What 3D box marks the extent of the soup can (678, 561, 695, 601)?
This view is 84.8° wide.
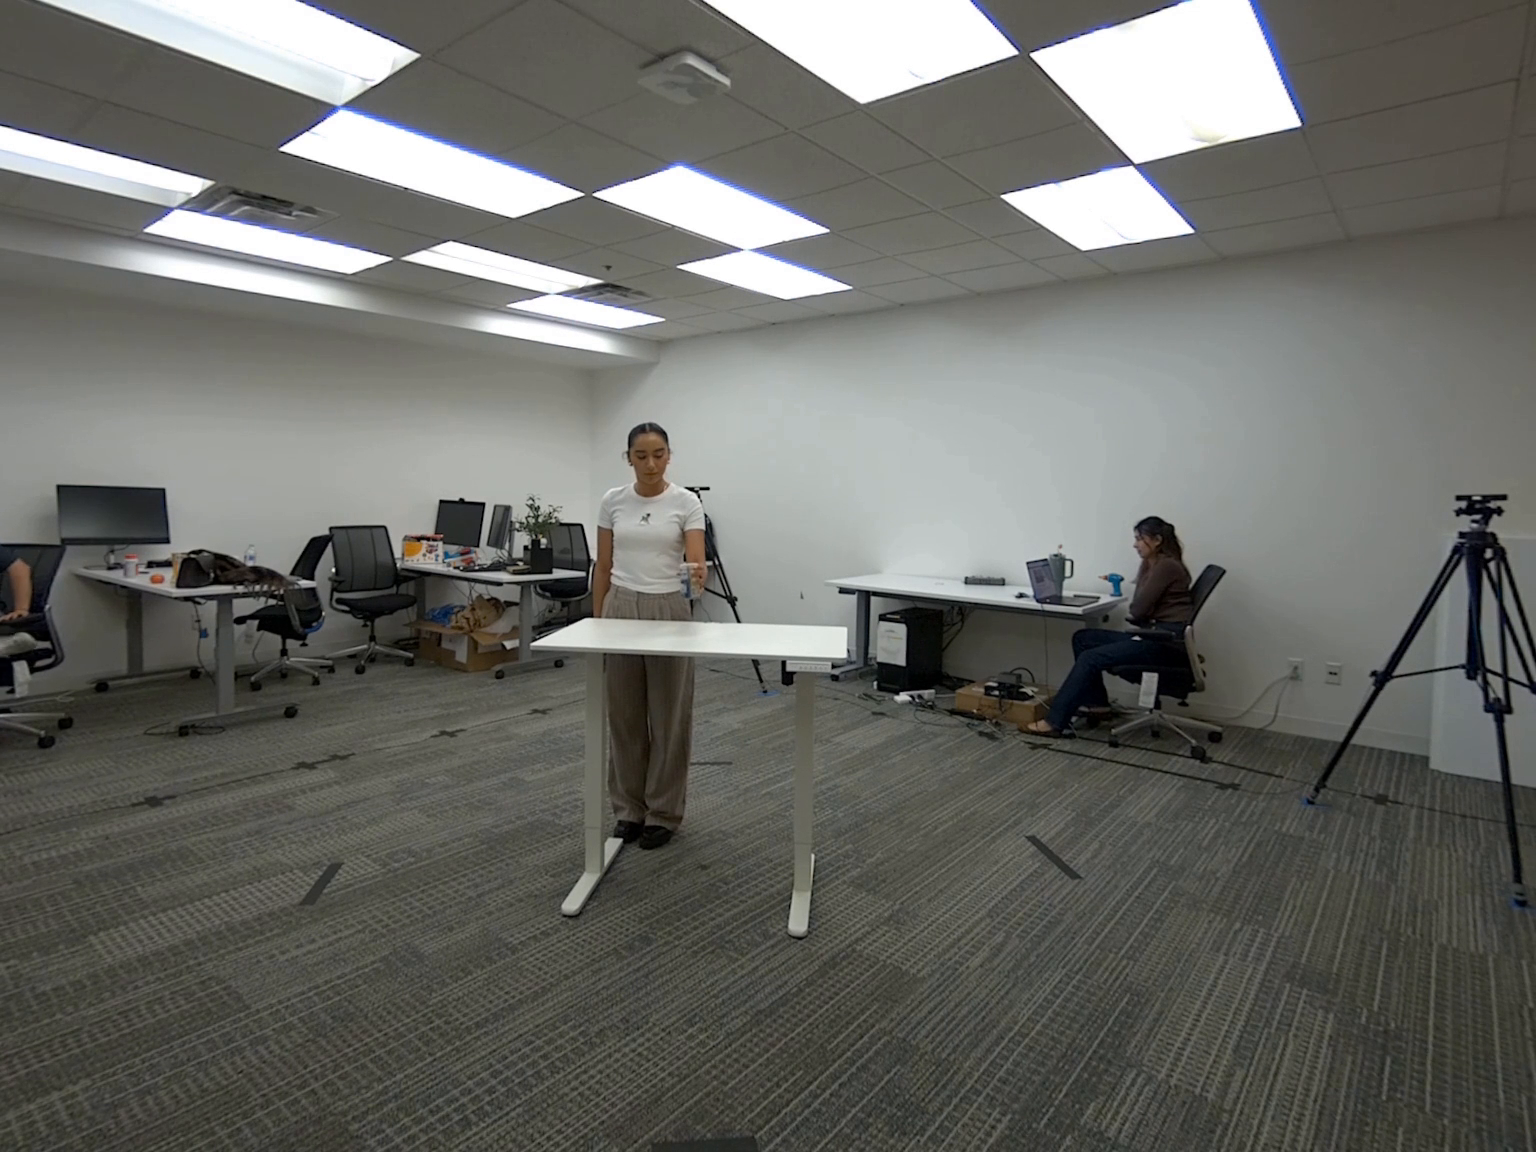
[{"bbox_3d":[-0.276,0.012,2.910,0.067,0.121,0.067,-6,0,-2],"label":"soup can"}]
